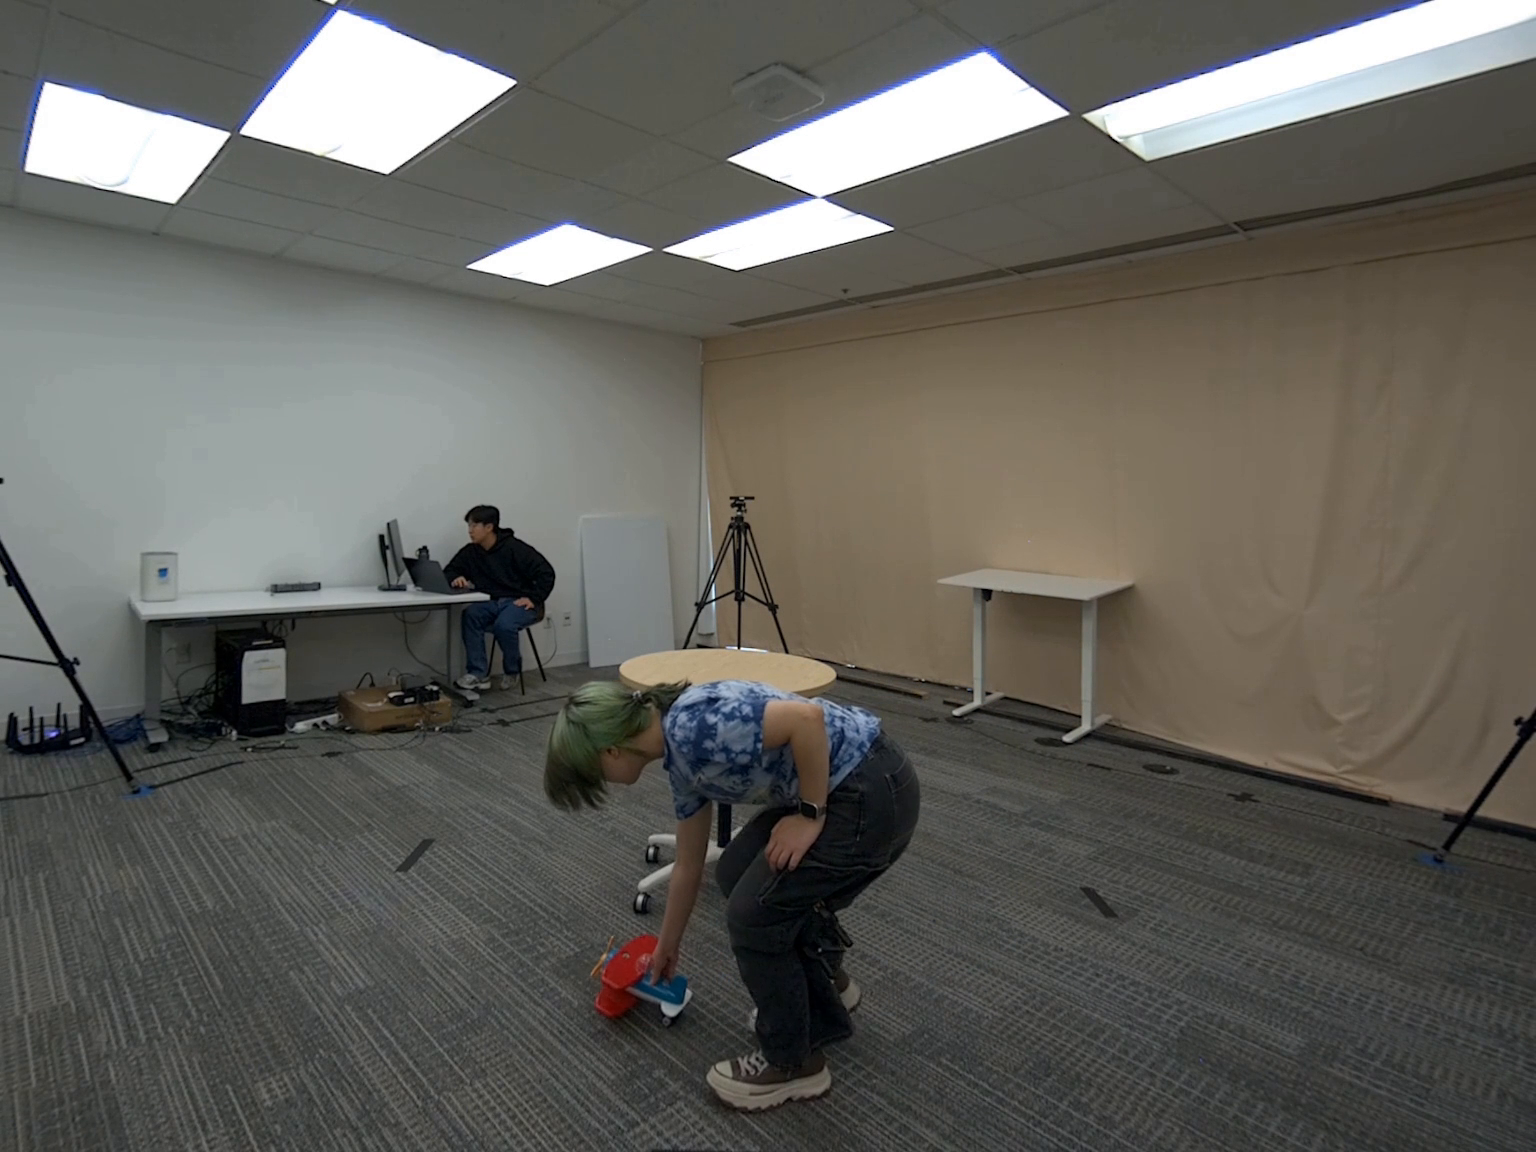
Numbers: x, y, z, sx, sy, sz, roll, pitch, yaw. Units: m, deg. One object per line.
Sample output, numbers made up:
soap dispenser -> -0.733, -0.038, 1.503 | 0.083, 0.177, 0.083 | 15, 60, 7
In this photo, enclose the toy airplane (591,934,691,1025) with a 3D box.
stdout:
toy airplane -> -0.345, 1.108, 2.278 | 0.258, 0.156, 0.254 | 1, 6, -8
